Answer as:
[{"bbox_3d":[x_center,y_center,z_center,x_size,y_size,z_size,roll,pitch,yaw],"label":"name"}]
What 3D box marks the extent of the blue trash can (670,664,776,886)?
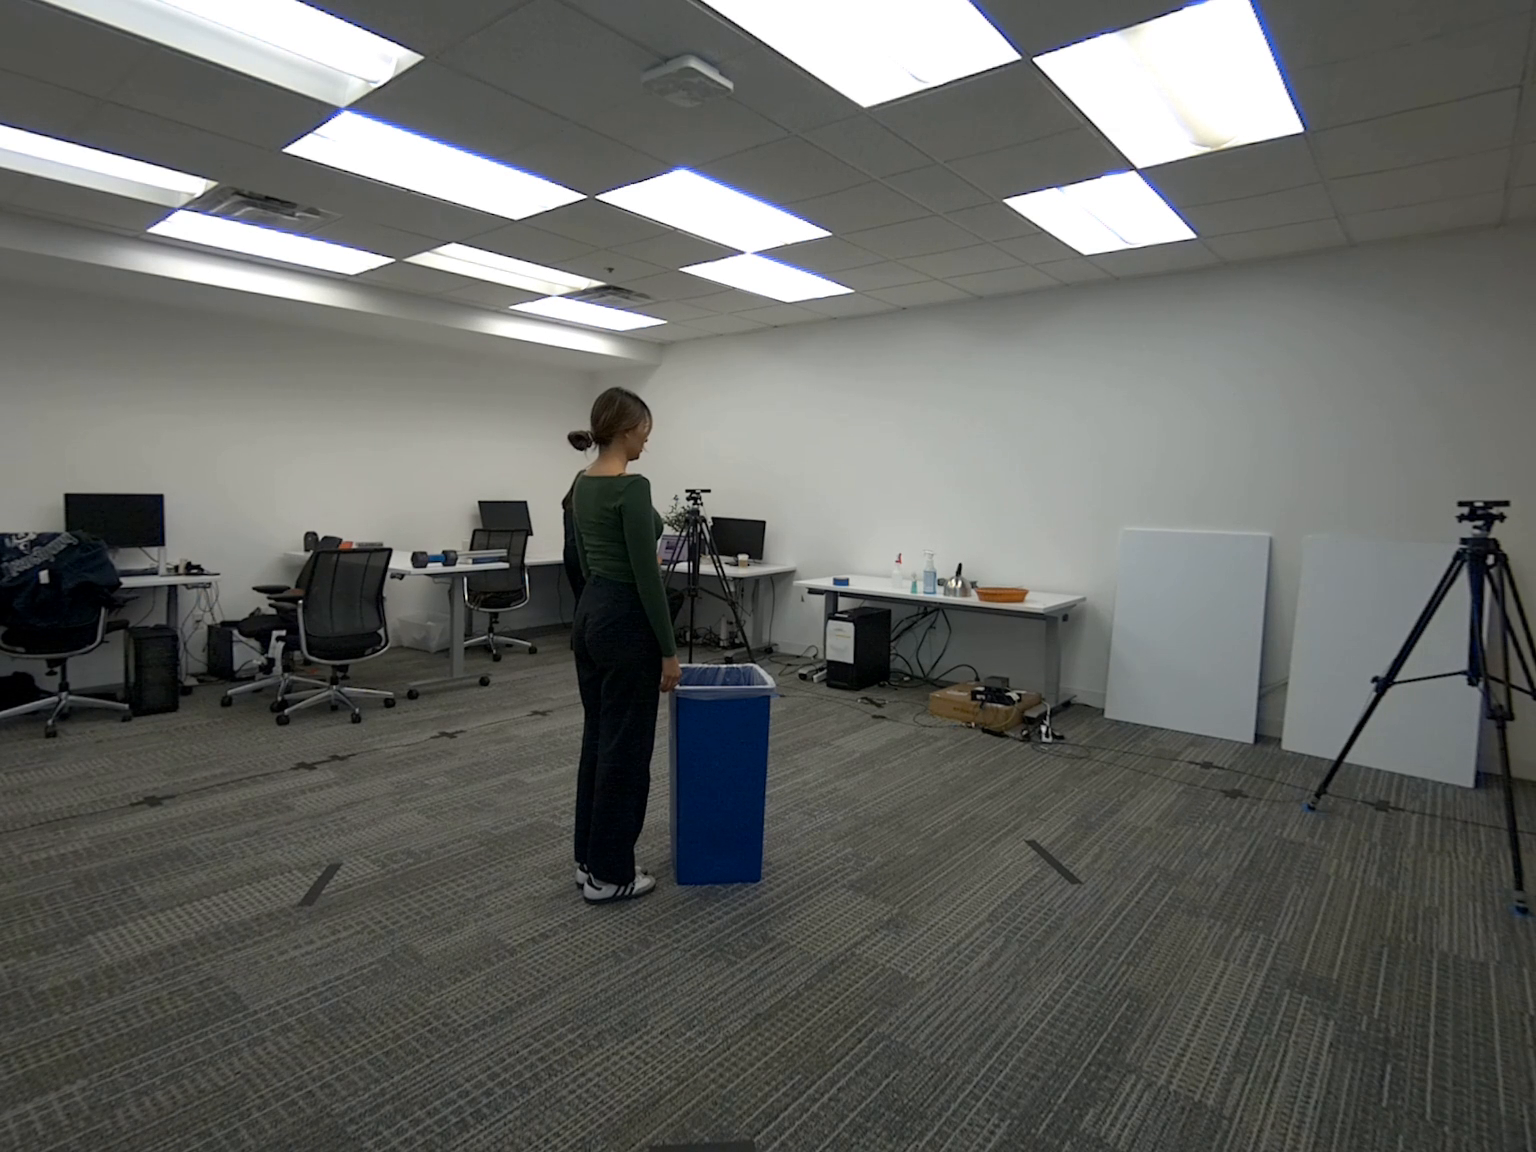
[{"bbox_3d":[-0.199,0.714,3.136,0.370,0.711,0.383,0,4,-10],"label":"blue trash can"}]
